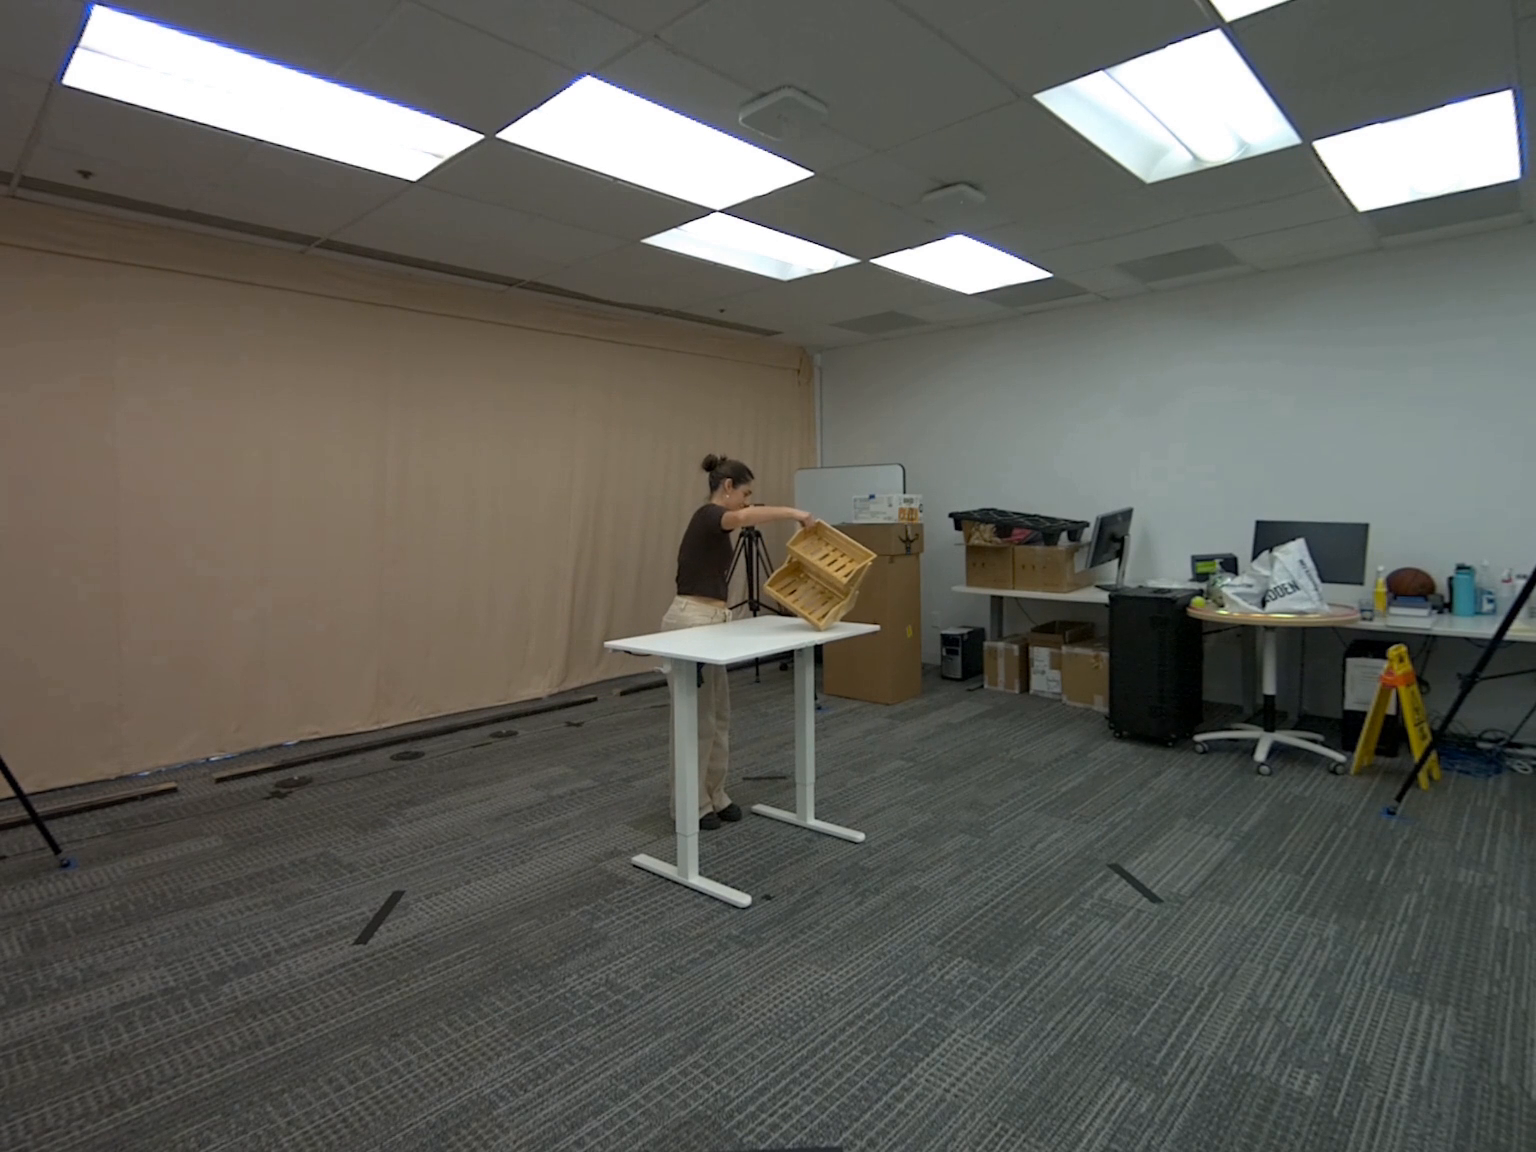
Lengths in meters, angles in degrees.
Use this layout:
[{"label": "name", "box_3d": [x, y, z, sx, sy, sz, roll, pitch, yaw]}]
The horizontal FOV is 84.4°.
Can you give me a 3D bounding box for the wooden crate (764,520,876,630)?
[{"label": "wooden crate", "box_3d": [0.216, -0.004, 3.430, 0.334, 0.270, 0.296, 34, 41, 25]}]
